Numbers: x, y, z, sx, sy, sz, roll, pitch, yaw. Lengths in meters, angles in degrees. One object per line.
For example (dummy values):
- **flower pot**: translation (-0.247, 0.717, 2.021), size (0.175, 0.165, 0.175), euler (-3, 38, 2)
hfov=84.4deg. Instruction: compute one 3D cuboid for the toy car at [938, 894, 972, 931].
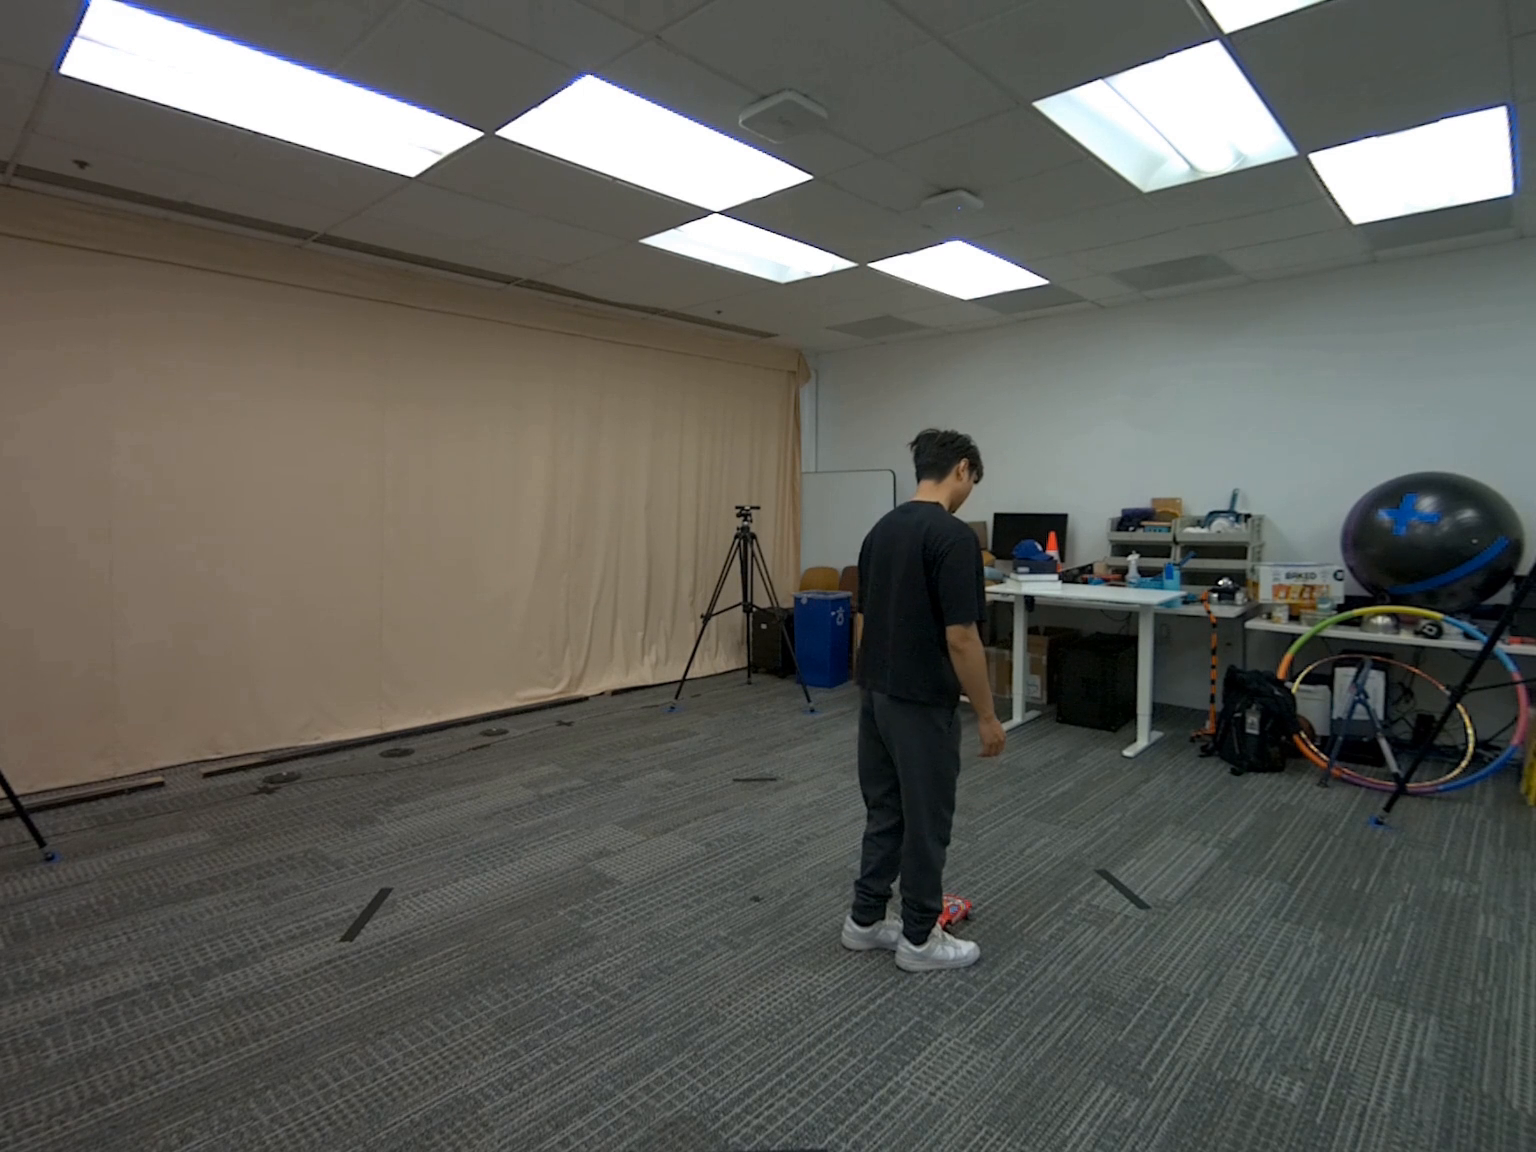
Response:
- **toy car**: translation (0.581, 1.123, 2.794), size (0.135, 0.083, 0.246), euler (4, -5, 45)
